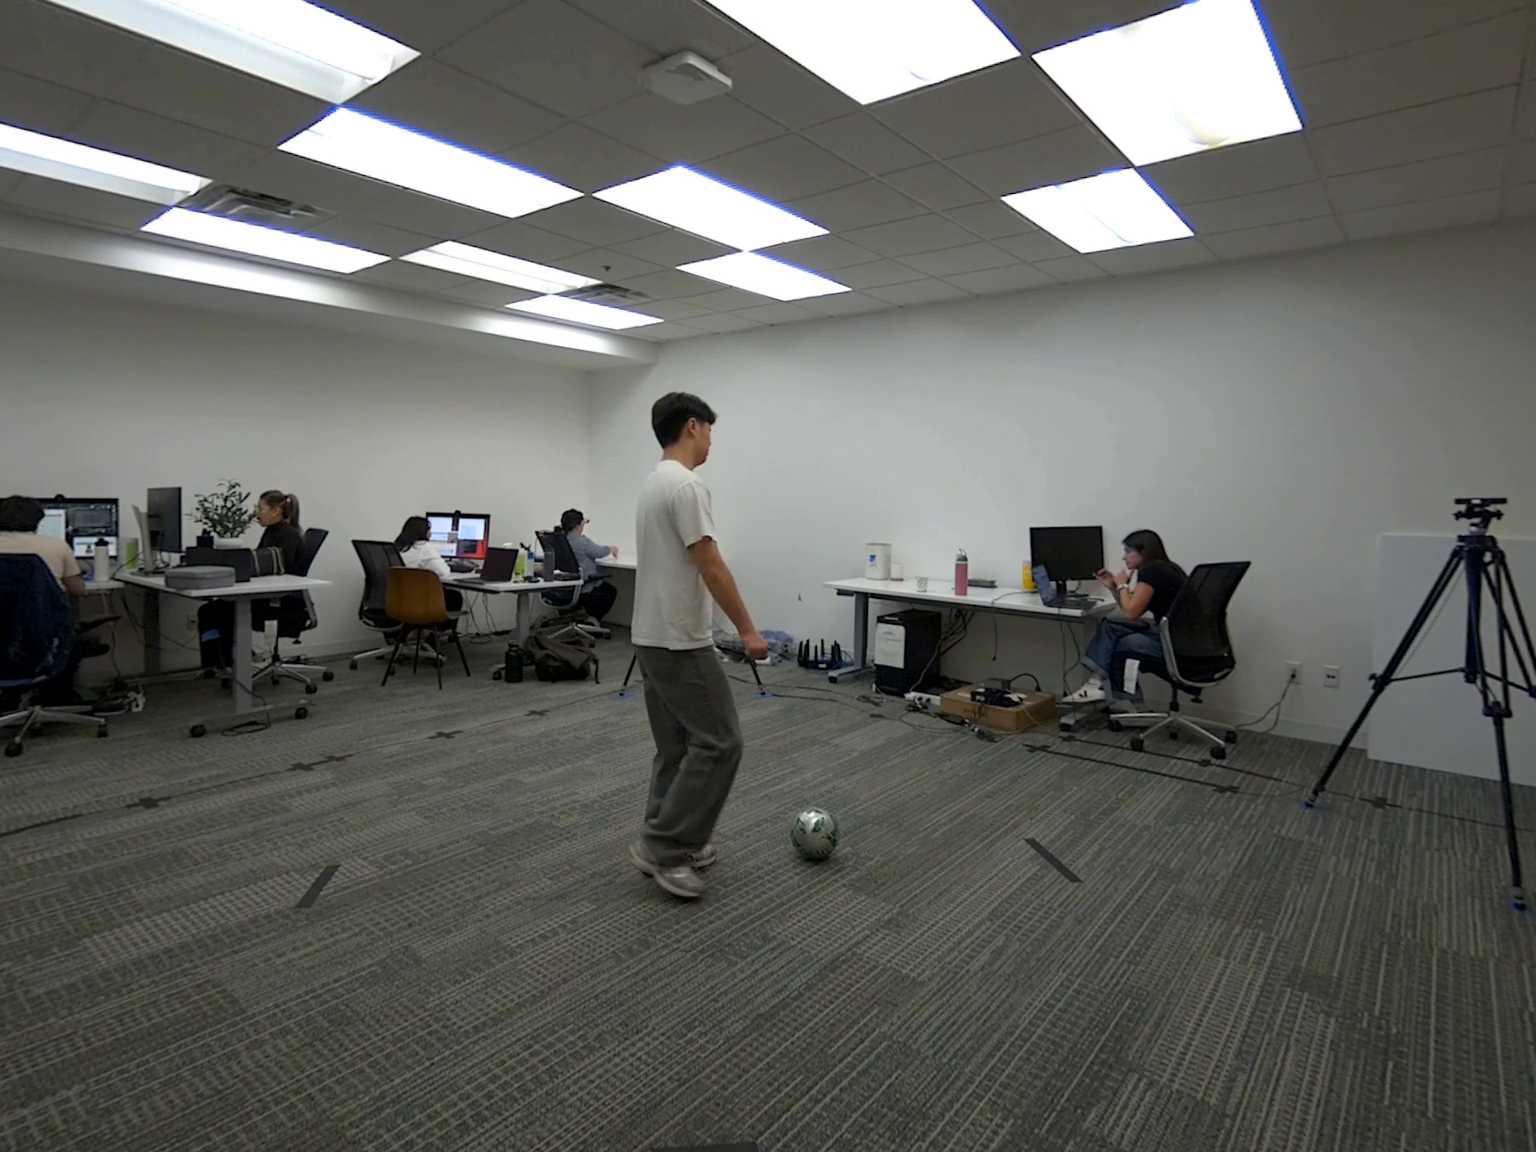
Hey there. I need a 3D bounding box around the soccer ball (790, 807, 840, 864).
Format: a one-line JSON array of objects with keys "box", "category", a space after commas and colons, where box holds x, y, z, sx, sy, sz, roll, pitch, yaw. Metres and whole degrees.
[{"box": [0.179, 0.969, 3.228, 0.187, 0.187, 0.188, 1, 4, -2], "category": "soccer ball"}]
